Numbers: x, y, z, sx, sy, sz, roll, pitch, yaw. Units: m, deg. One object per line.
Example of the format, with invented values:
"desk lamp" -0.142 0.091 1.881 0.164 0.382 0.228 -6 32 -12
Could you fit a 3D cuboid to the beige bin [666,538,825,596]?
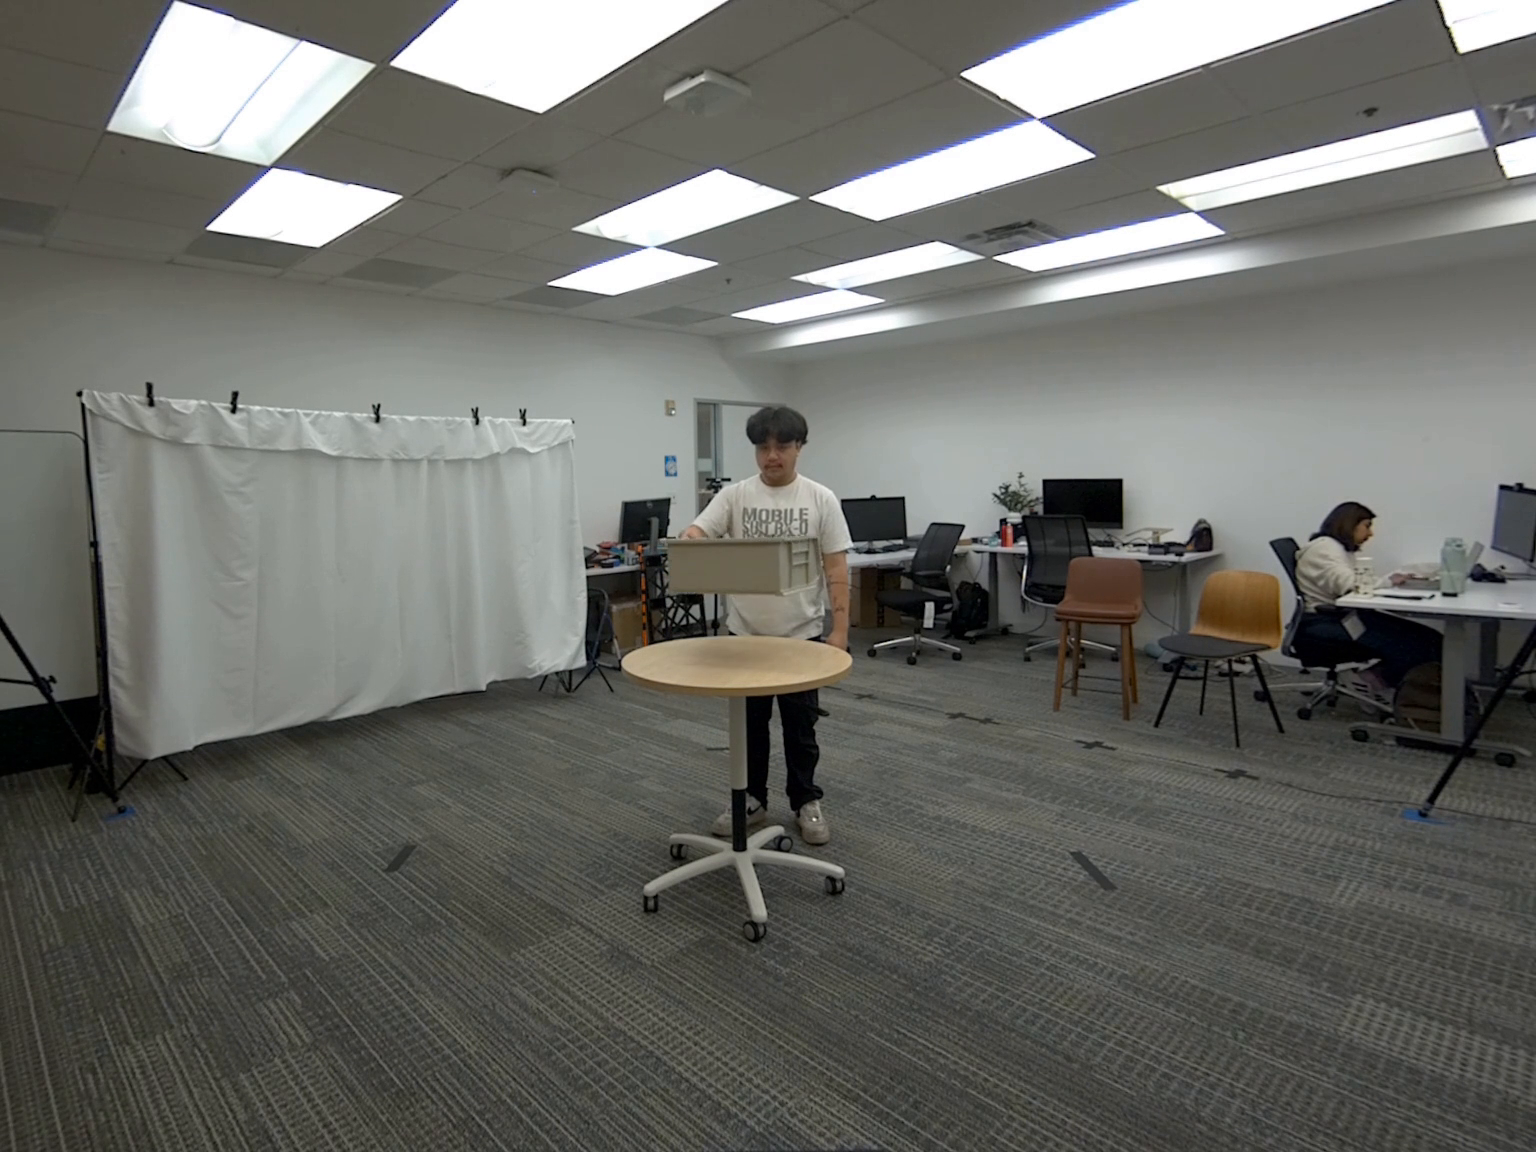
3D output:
"beige bin" -0.082 -0.035 2.828 0.432 0.188 0.370 1 4 24
